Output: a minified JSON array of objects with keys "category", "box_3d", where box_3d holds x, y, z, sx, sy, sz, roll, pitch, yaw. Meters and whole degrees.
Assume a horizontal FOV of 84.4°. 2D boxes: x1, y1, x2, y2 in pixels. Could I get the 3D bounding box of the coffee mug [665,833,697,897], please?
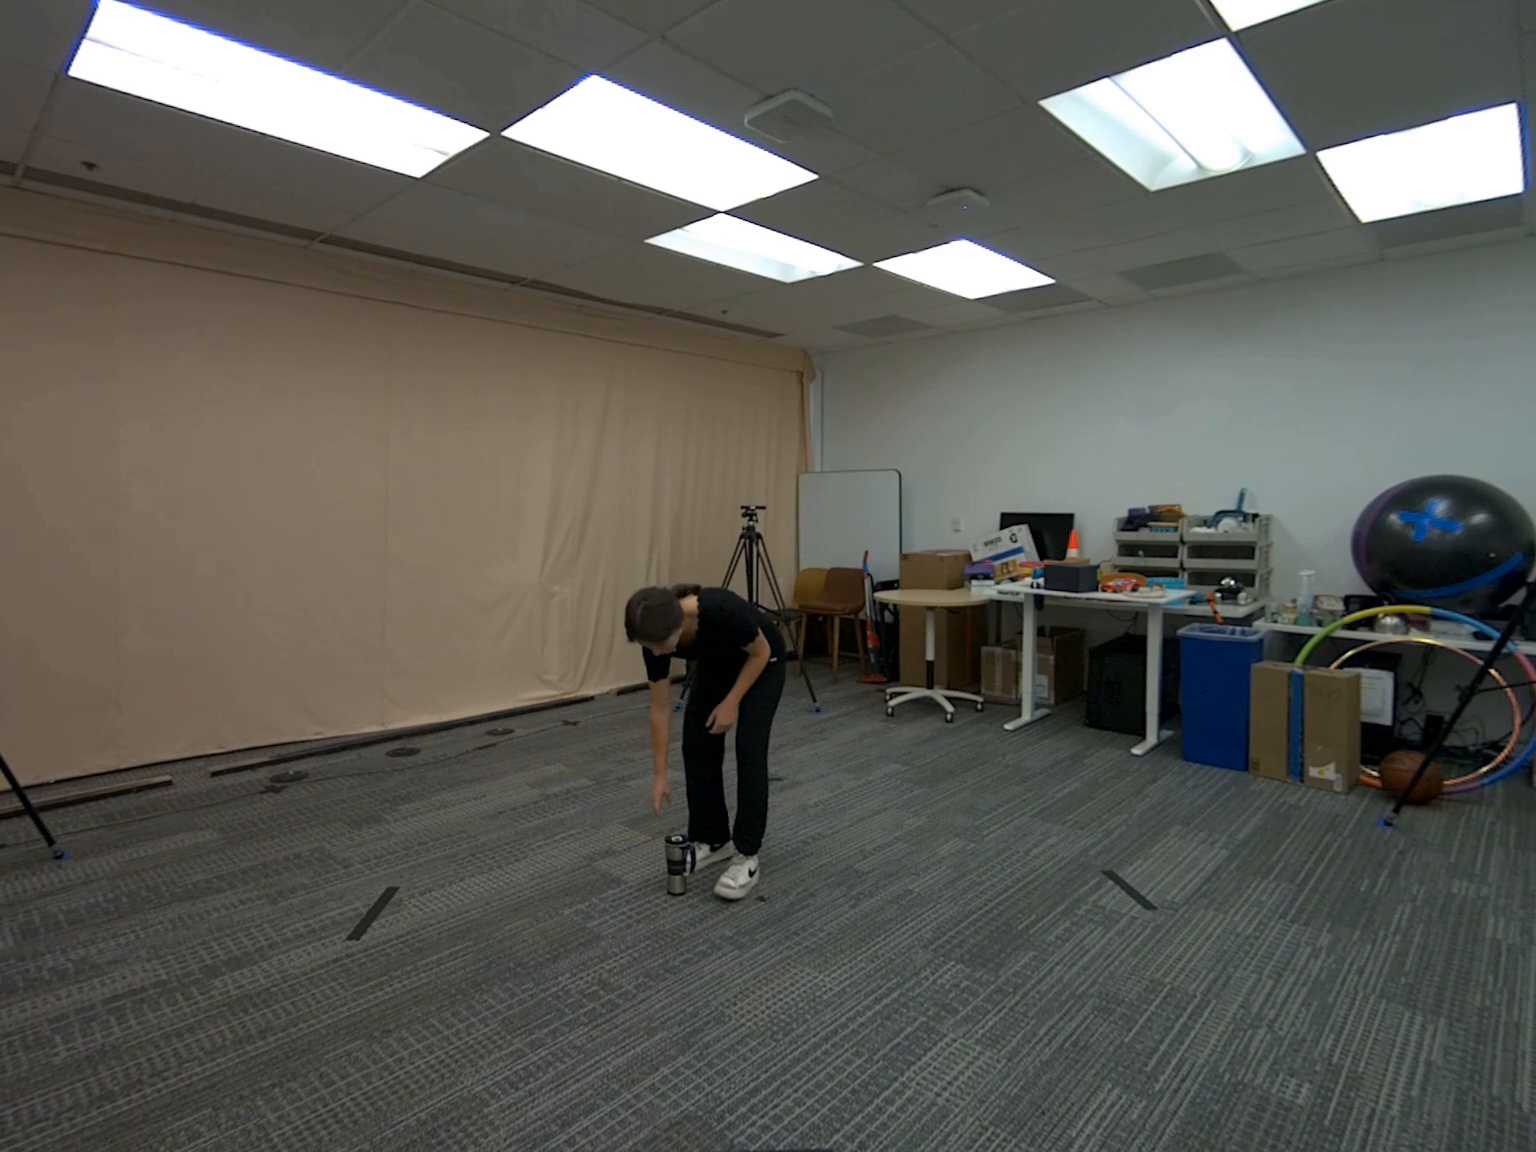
[{"category":"coffee mug","box_3d":[-0.313,1.042,3.017,0.085,0.203,0.125,3,1,-32]}]
